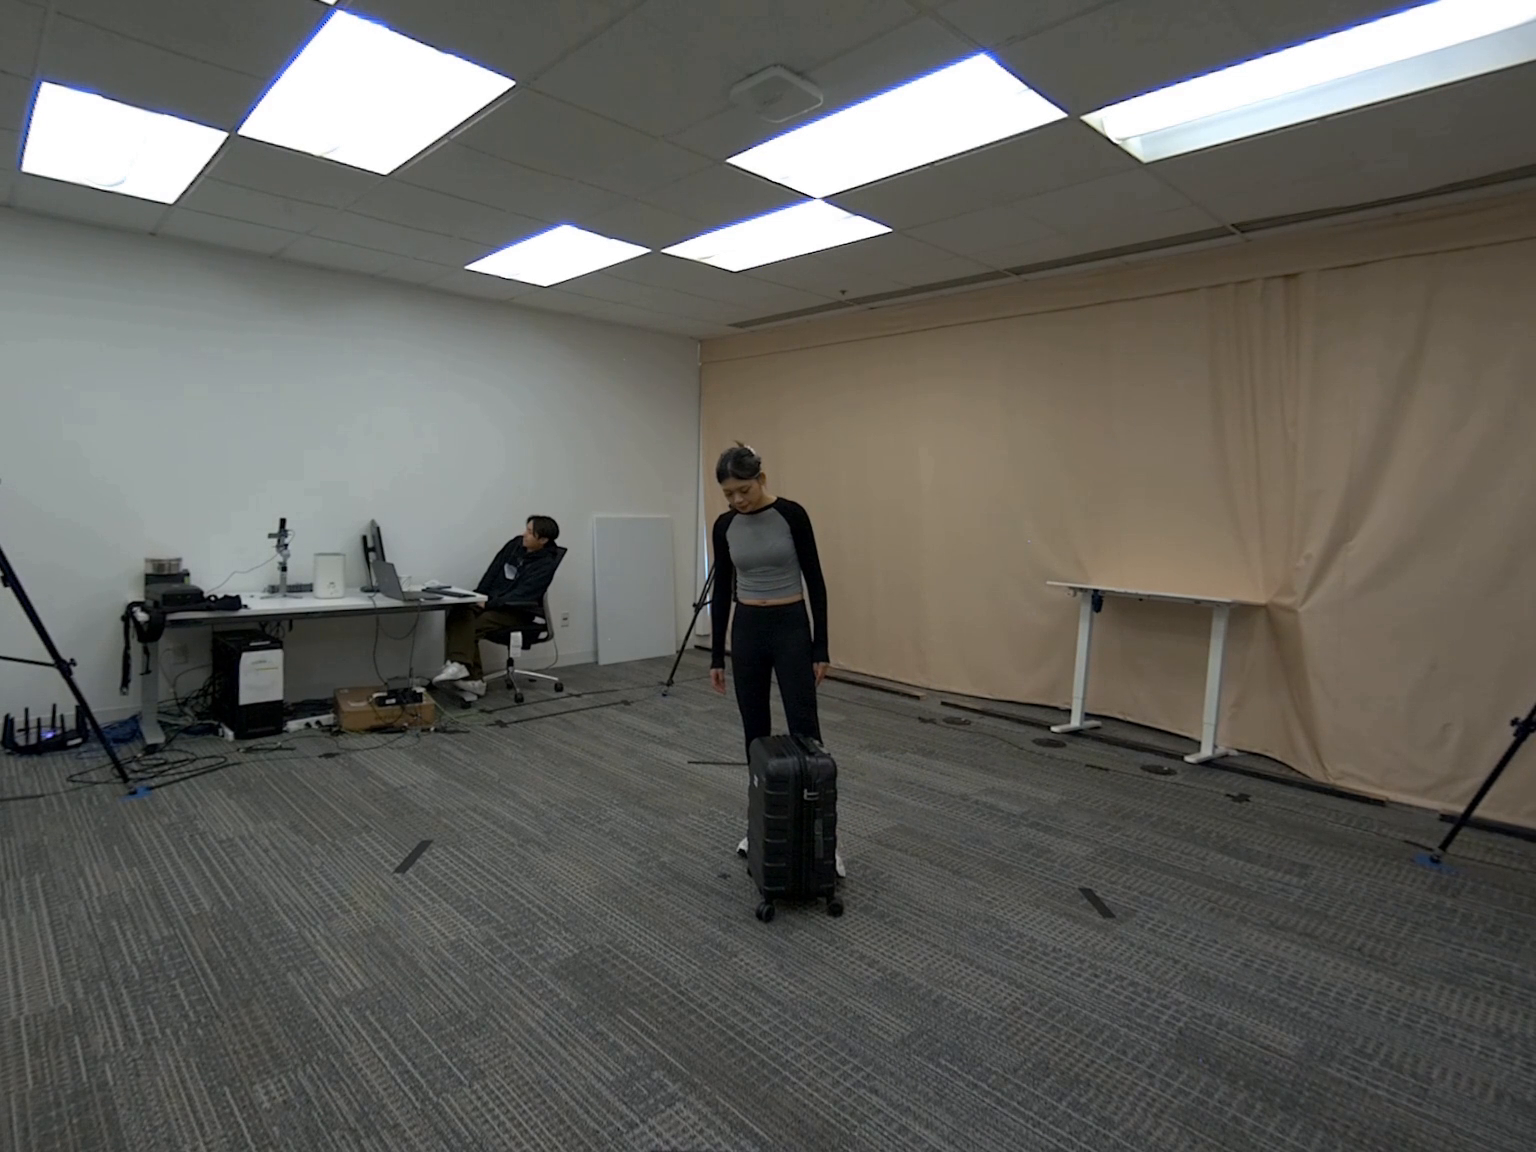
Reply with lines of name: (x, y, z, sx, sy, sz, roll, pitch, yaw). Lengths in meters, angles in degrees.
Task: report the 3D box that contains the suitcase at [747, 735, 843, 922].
suitcase: (0.067, 0.850, 2.942, 0.246, 0.548, 0.379, 0, 4, -11)
